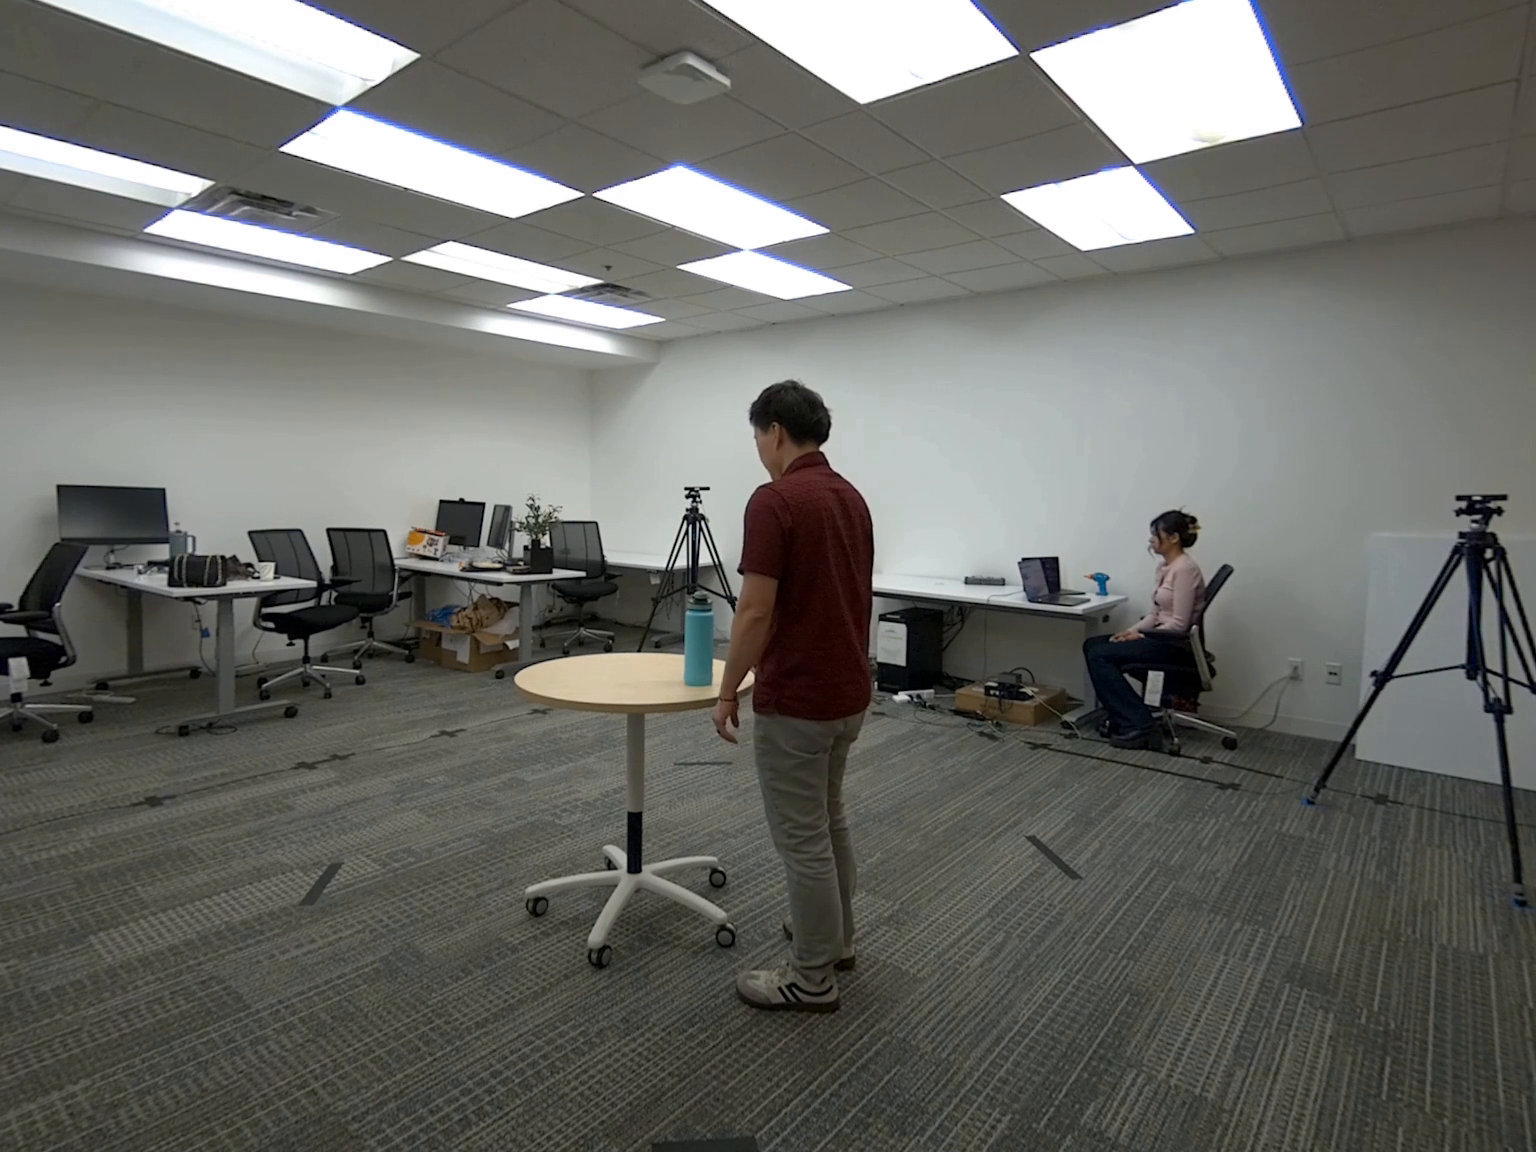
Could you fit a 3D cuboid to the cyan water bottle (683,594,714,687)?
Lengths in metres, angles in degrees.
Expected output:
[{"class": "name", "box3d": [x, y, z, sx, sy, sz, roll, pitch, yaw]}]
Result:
[{"class": "cyan water bottle", "box3d": [-0.222, 0.191, 2.620, 0.092, 0.283, 0.092, 0, 2, -2]}]
